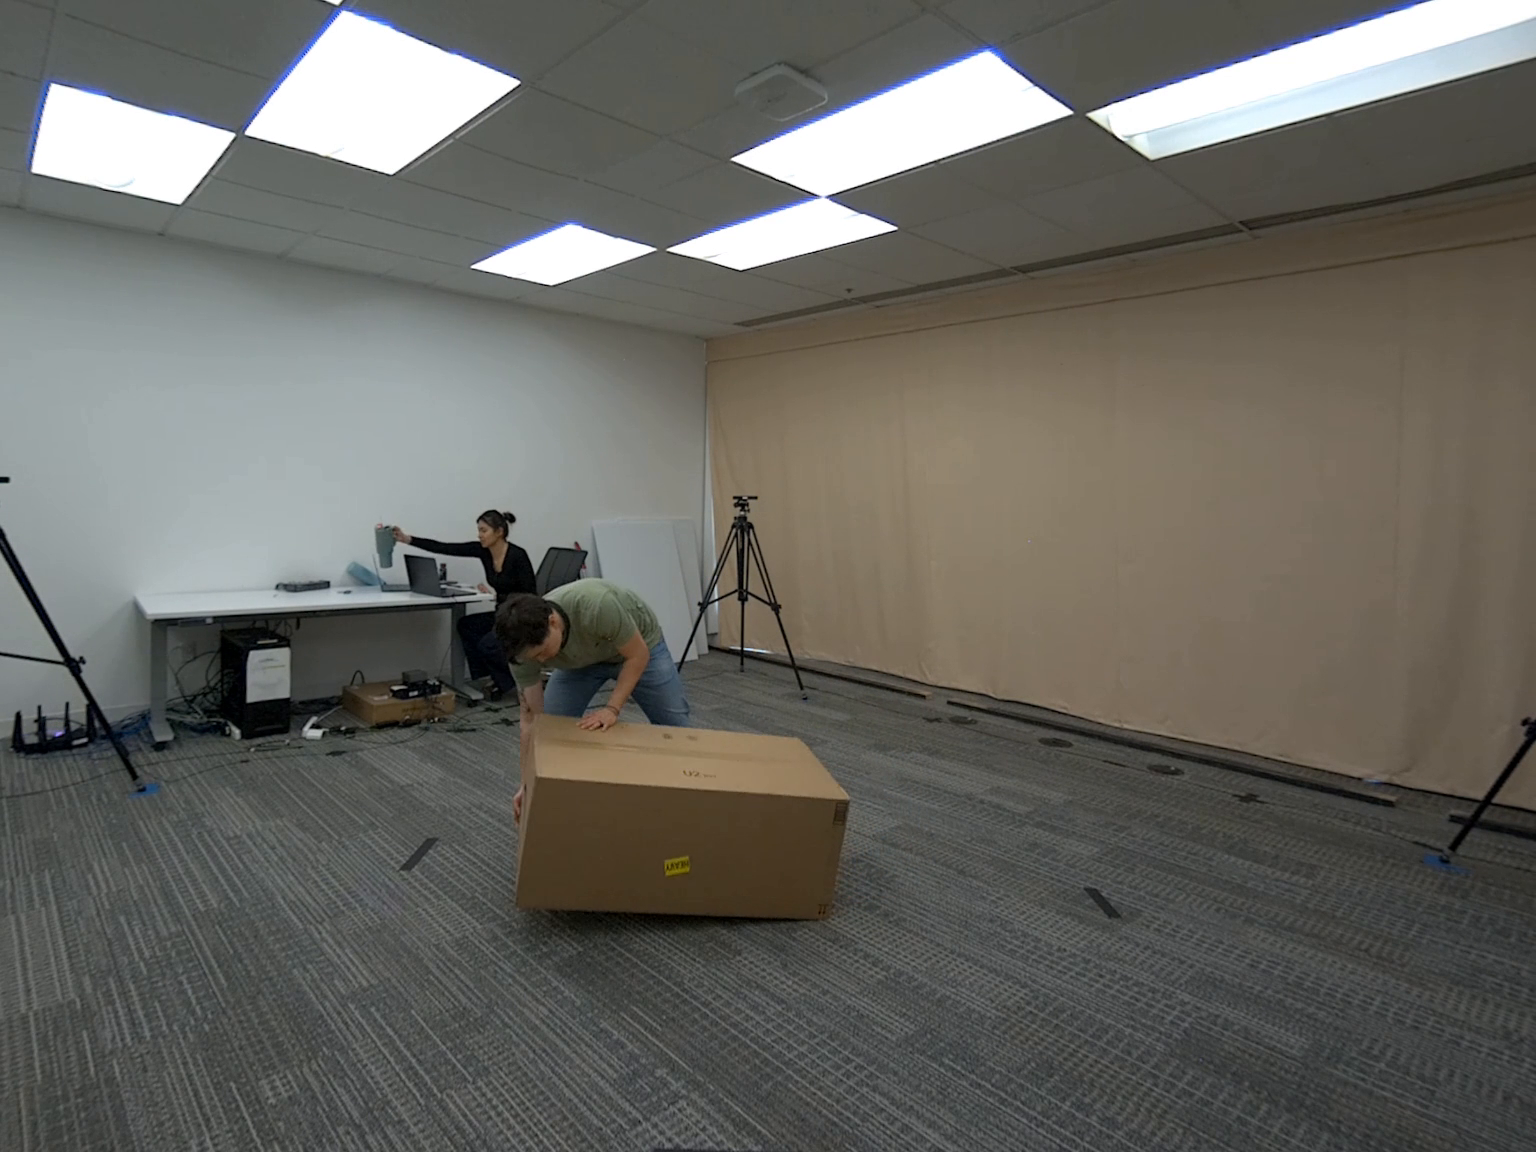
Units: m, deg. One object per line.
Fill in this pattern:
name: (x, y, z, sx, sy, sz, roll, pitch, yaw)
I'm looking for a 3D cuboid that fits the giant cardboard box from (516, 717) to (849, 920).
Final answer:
giant cardboard box: (-0.324, 0.814, 2.919, 1.013, 0.425, 0.587, 8, 6, -15)
